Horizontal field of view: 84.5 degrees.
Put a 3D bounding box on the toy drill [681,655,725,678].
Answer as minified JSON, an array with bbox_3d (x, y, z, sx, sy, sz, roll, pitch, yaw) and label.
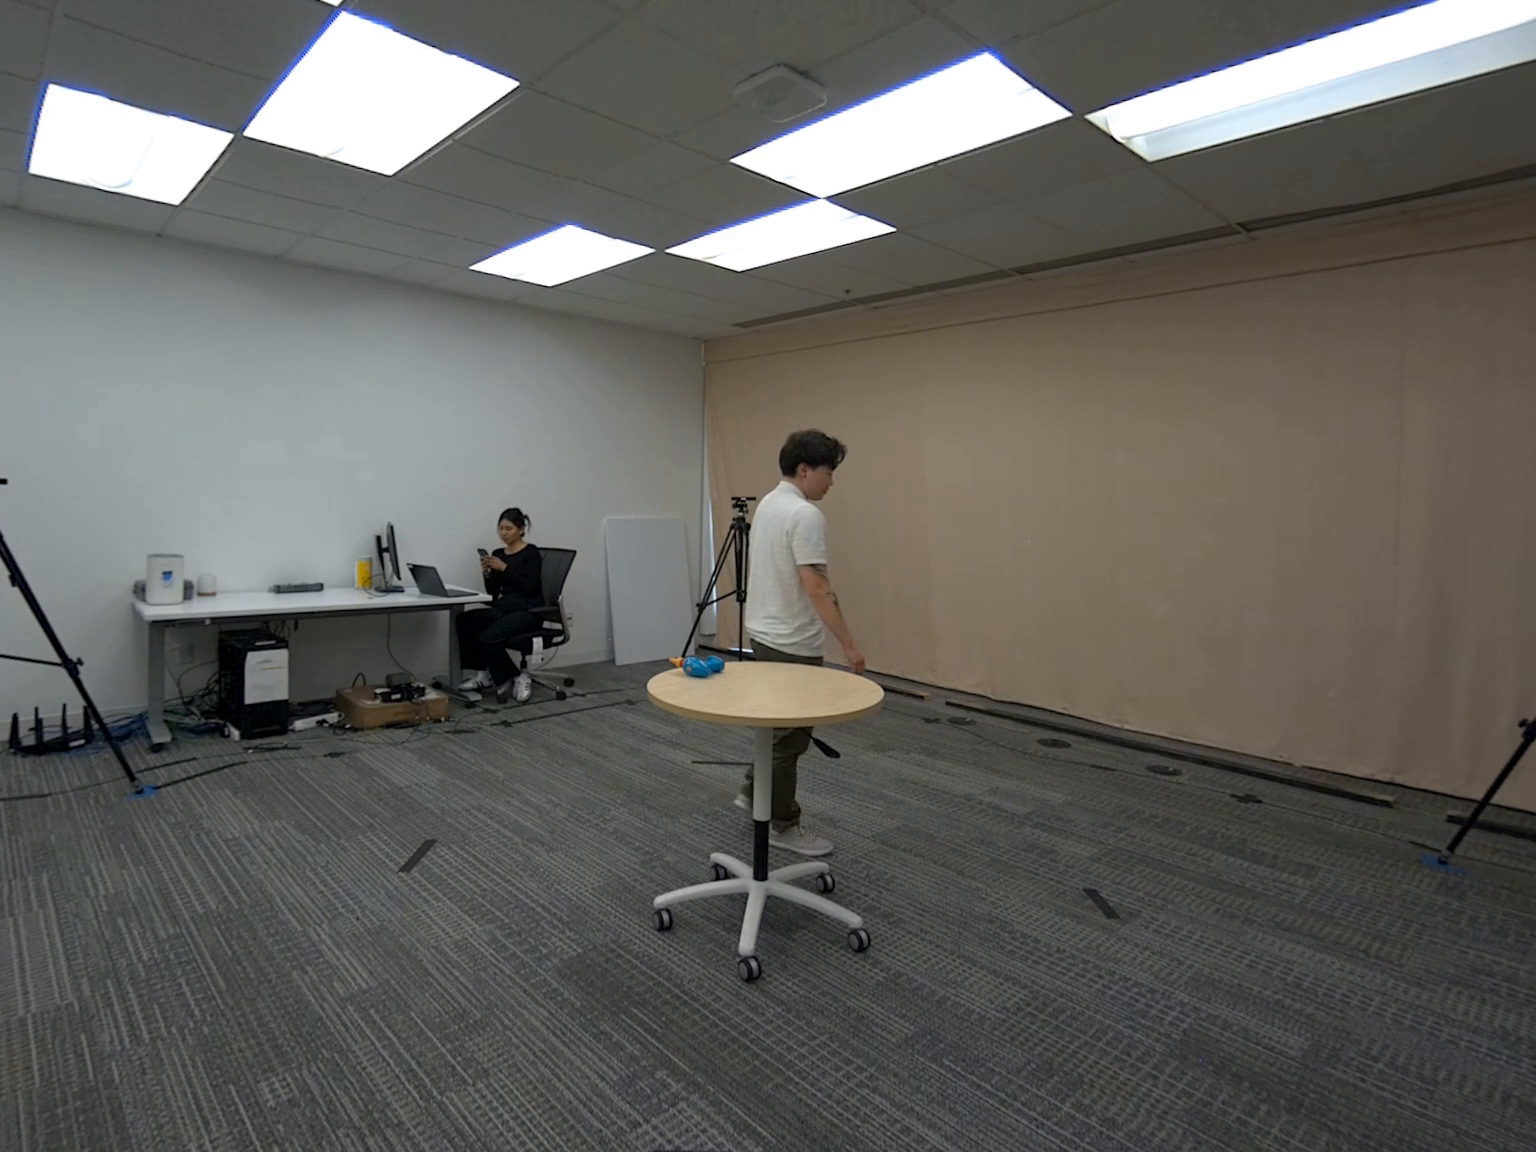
[{"bbox_3d":[-0.256,0.307,2.898,0.174,0.061,0.143,12,8,29],"label":"toy drill"}]
